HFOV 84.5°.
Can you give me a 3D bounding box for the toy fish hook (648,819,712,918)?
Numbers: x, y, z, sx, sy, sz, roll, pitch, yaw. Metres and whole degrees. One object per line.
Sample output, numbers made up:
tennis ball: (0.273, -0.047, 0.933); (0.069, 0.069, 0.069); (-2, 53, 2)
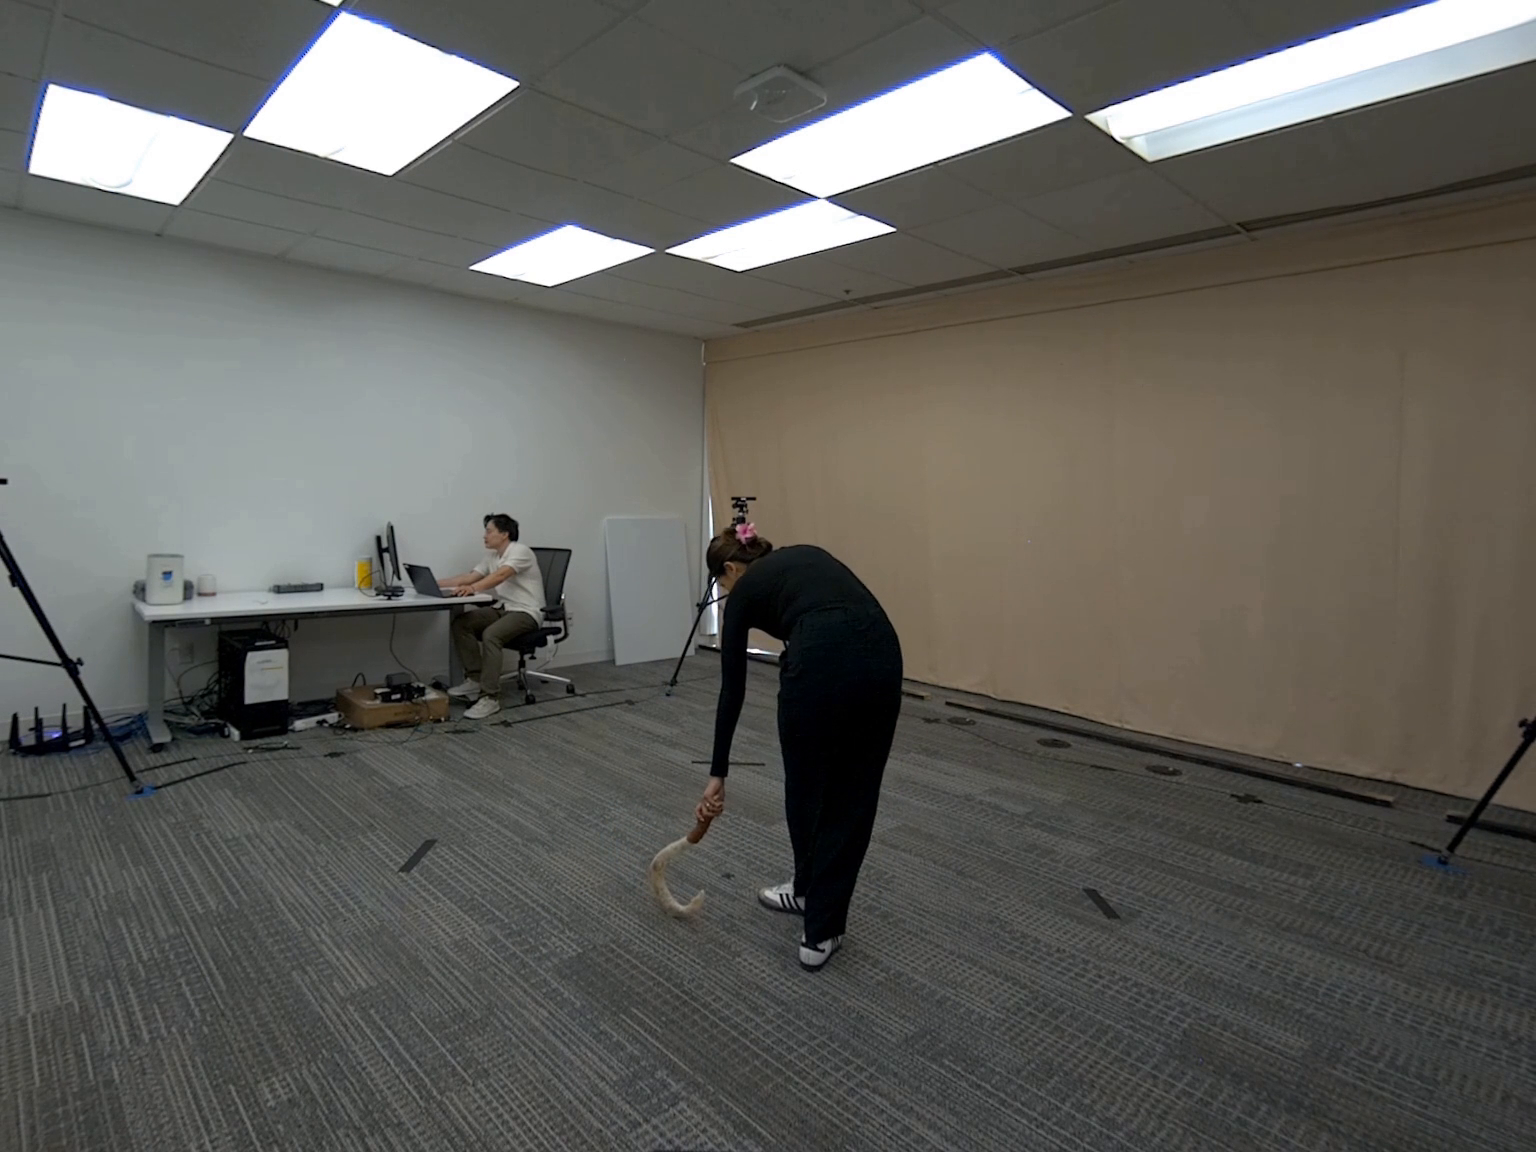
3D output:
toy fish hook: (-0.237, 0.908, 2.715); (0.229, 0.504, 0.047); (43, 29, 21)
